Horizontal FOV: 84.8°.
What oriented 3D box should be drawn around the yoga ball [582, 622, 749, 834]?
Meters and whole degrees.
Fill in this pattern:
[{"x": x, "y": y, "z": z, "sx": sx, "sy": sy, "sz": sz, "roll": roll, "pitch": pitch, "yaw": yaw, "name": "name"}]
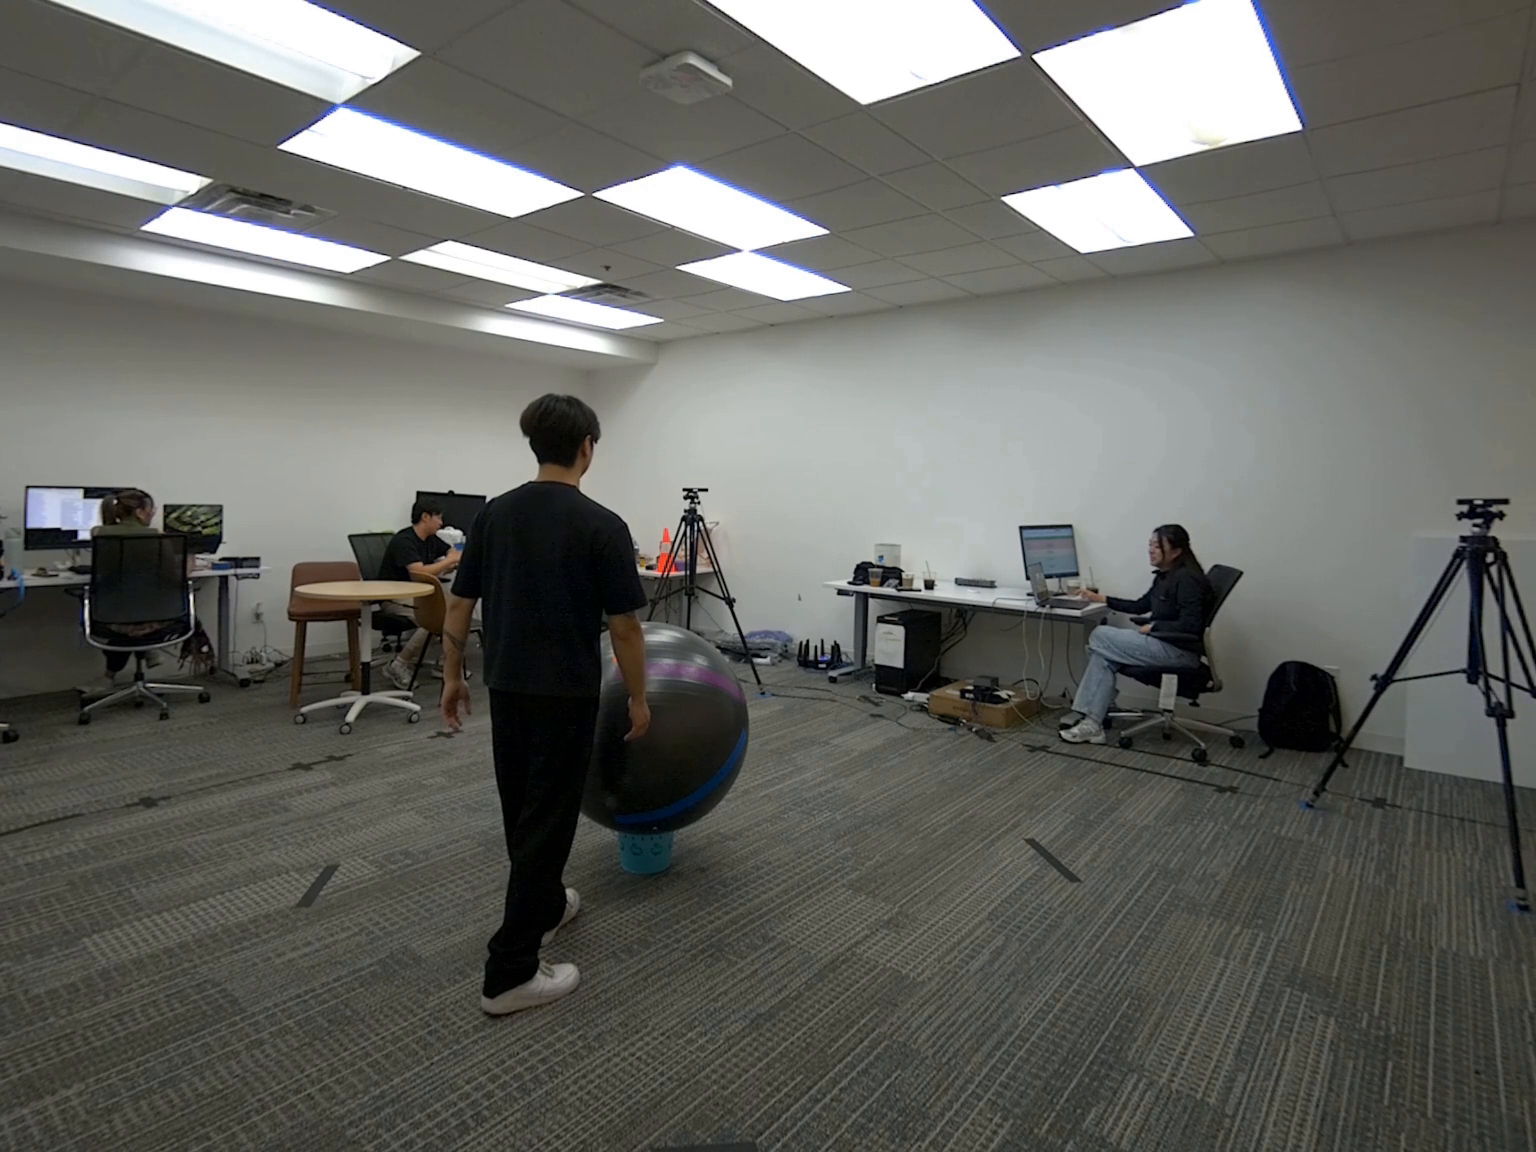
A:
[{"x": -0.456, "y": 0.555, "z": 3.134, "sx": 0.757, "sy": 0.755, "sz": 0.762, "roll": 1, "pitch": 4, "yaw": -2, "name": "yoga ball"}]
